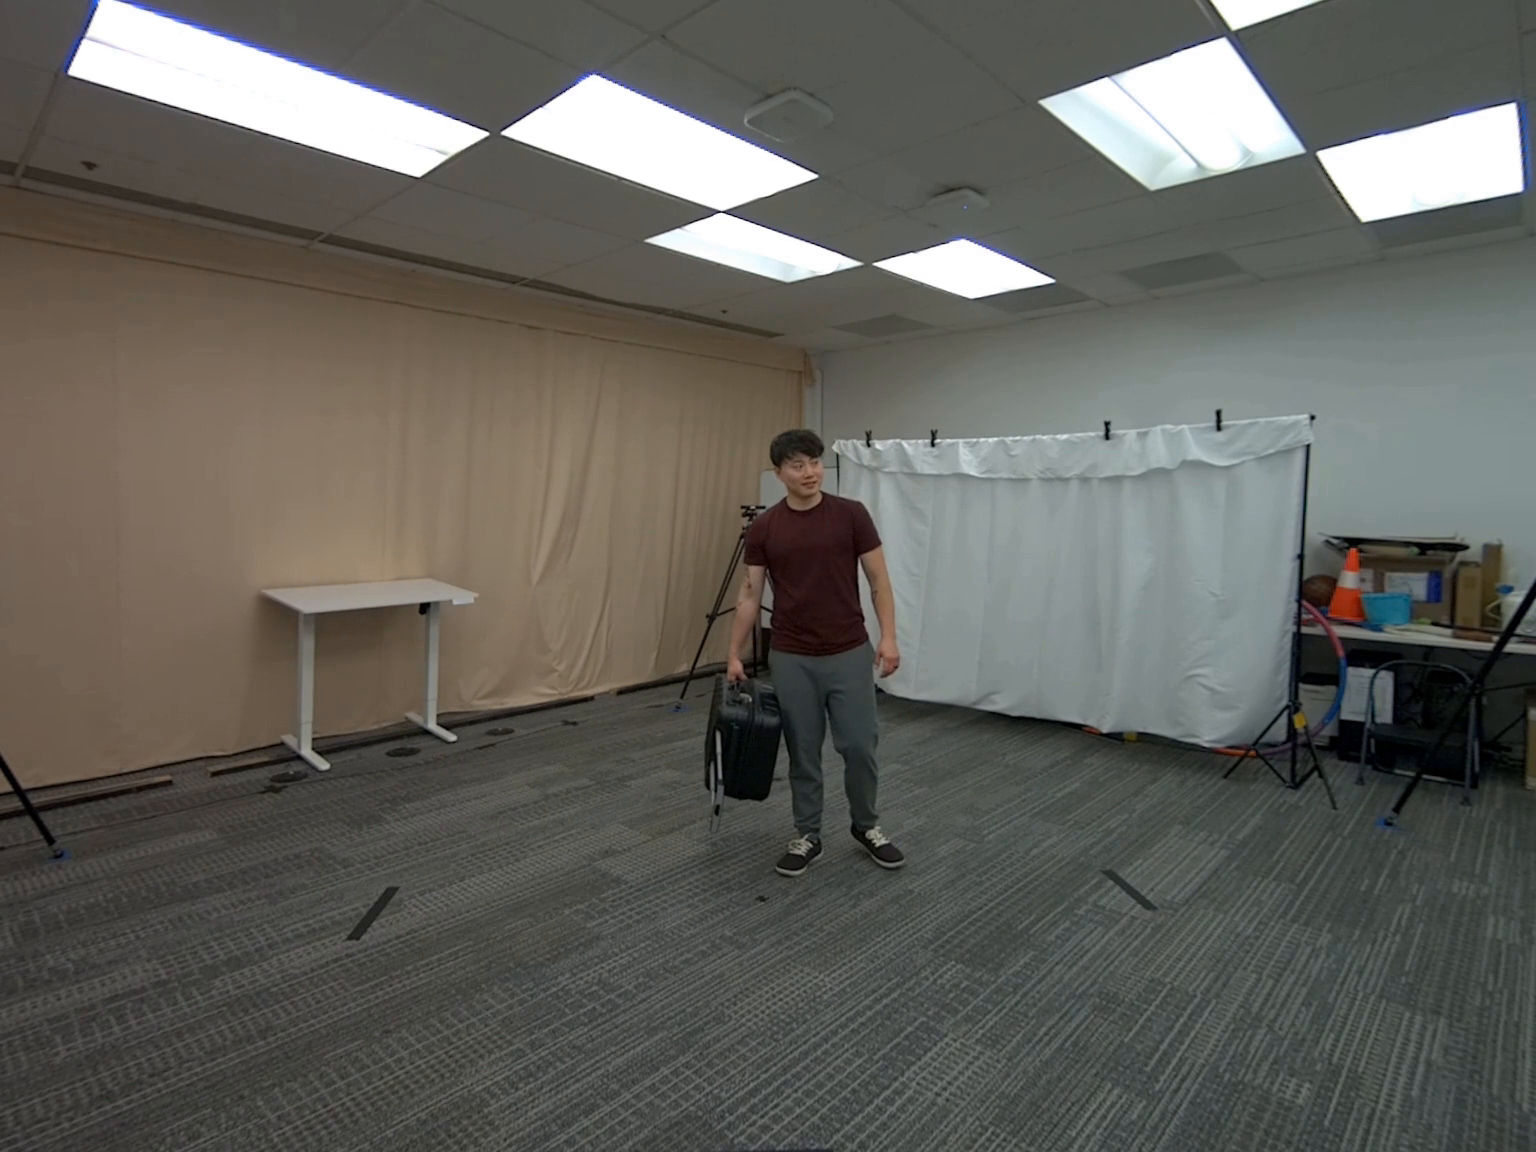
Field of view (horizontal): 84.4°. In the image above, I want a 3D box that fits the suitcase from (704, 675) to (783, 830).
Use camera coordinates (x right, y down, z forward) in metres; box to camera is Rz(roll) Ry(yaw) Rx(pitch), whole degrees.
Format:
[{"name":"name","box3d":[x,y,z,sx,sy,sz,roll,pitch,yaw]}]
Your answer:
[{"name":"suitcase","box3d":[-0.095,0.642,3.078,0.256,0.383,0.985,7,7,-5]}]
